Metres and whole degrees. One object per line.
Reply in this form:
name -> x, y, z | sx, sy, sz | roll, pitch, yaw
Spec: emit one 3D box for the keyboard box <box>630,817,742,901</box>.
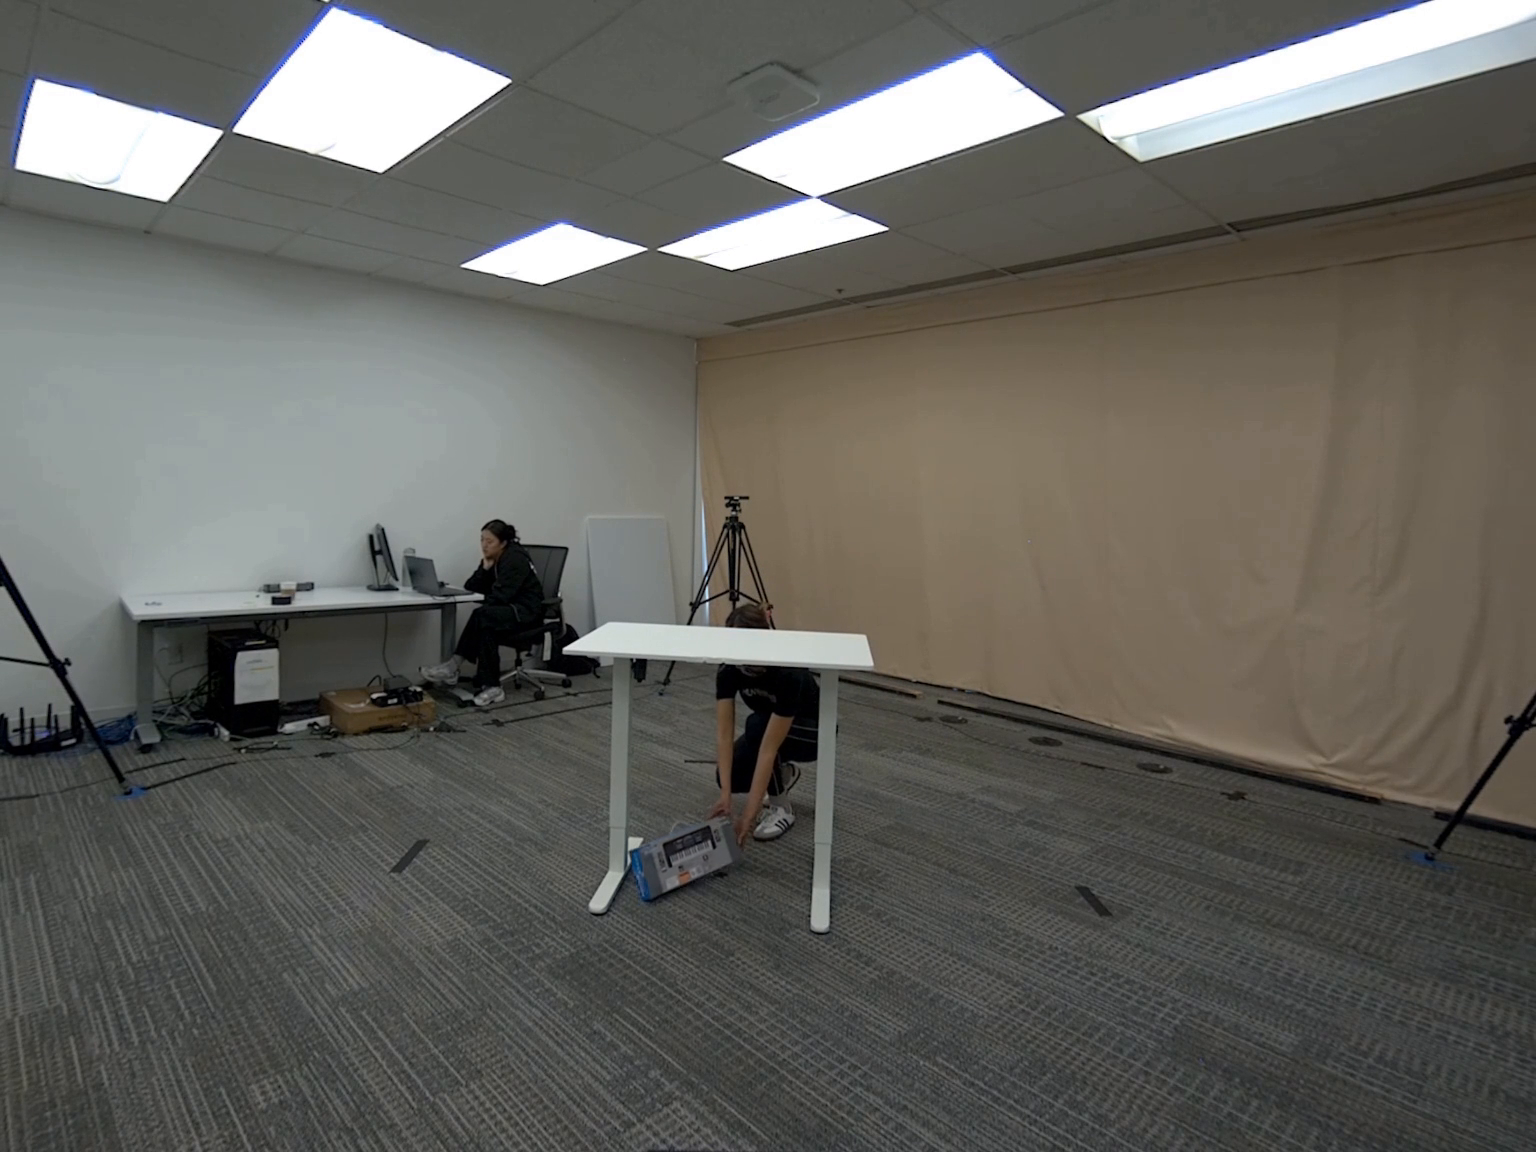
keyboard box -> -0.299, 1.014, 3.035 | 0.428, 0.178, 0.059 | -7, -18, -44
